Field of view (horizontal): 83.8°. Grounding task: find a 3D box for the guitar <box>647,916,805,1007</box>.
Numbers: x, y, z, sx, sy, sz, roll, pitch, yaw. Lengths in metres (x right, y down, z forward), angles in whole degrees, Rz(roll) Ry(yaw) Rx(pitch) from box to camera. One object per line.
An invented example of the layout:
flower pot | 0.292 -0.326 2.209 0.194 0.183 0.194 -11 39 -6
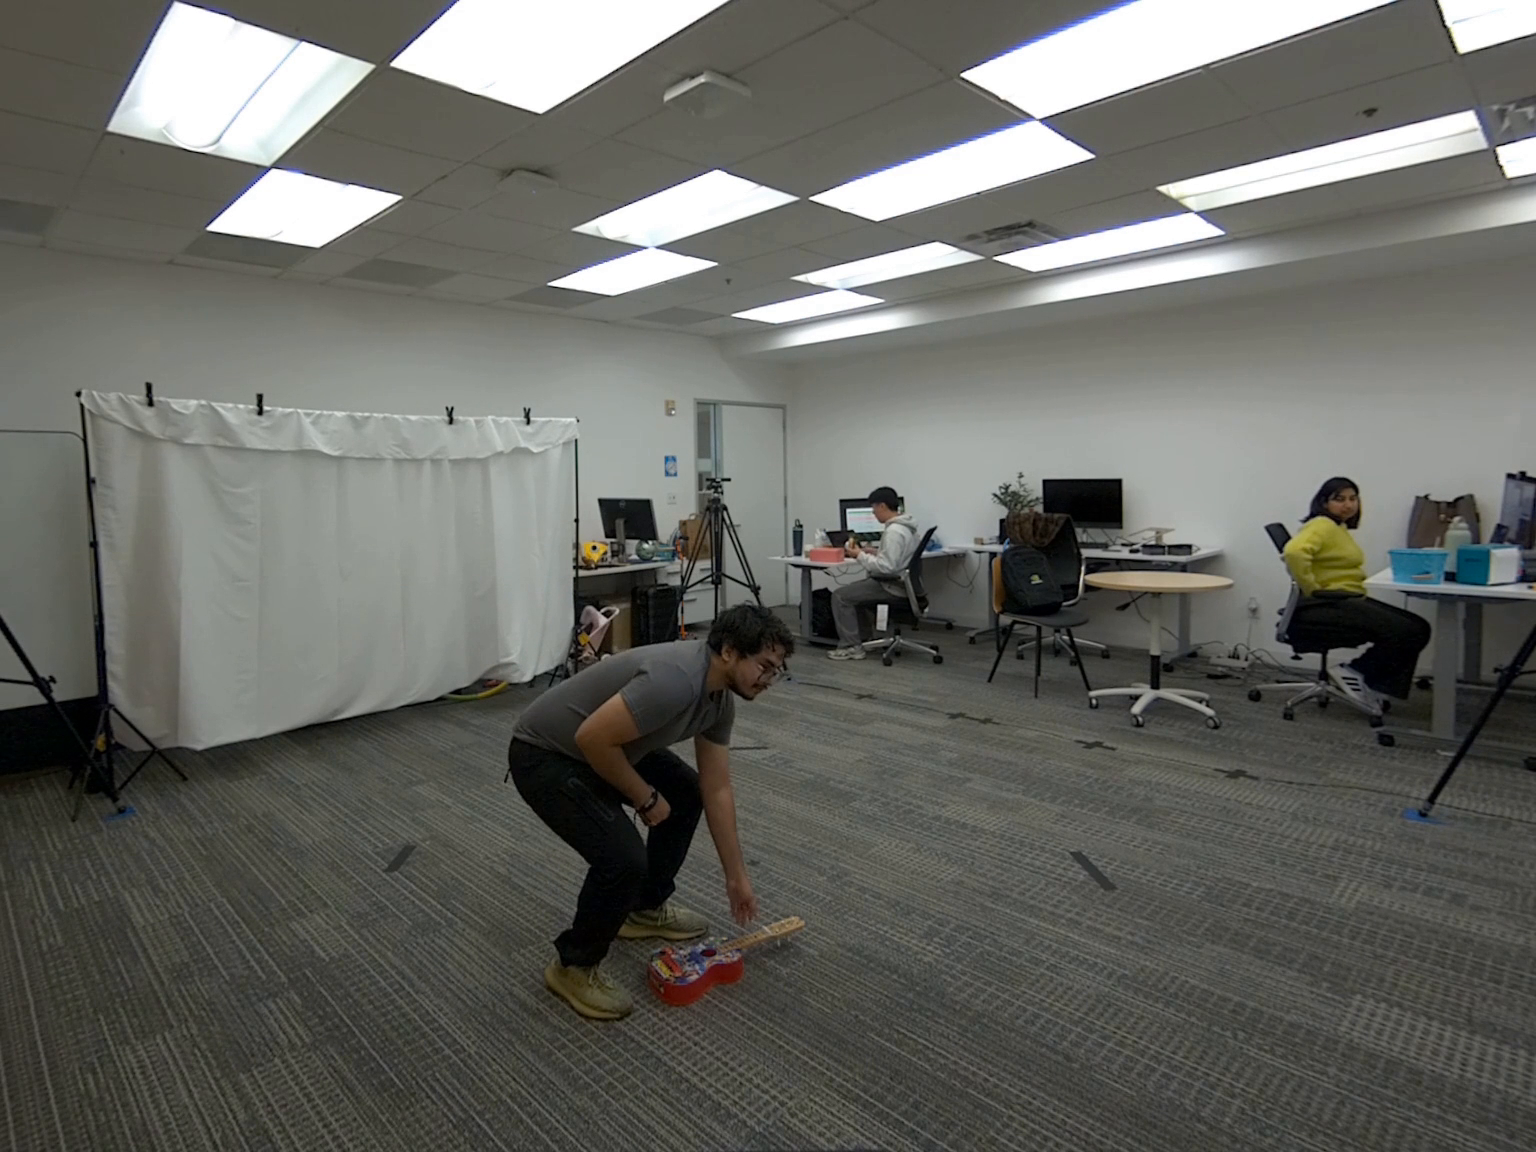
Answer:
guitar | -0.089 1.093 2.428 0.488 0.070 0.197 -4 6 -22
